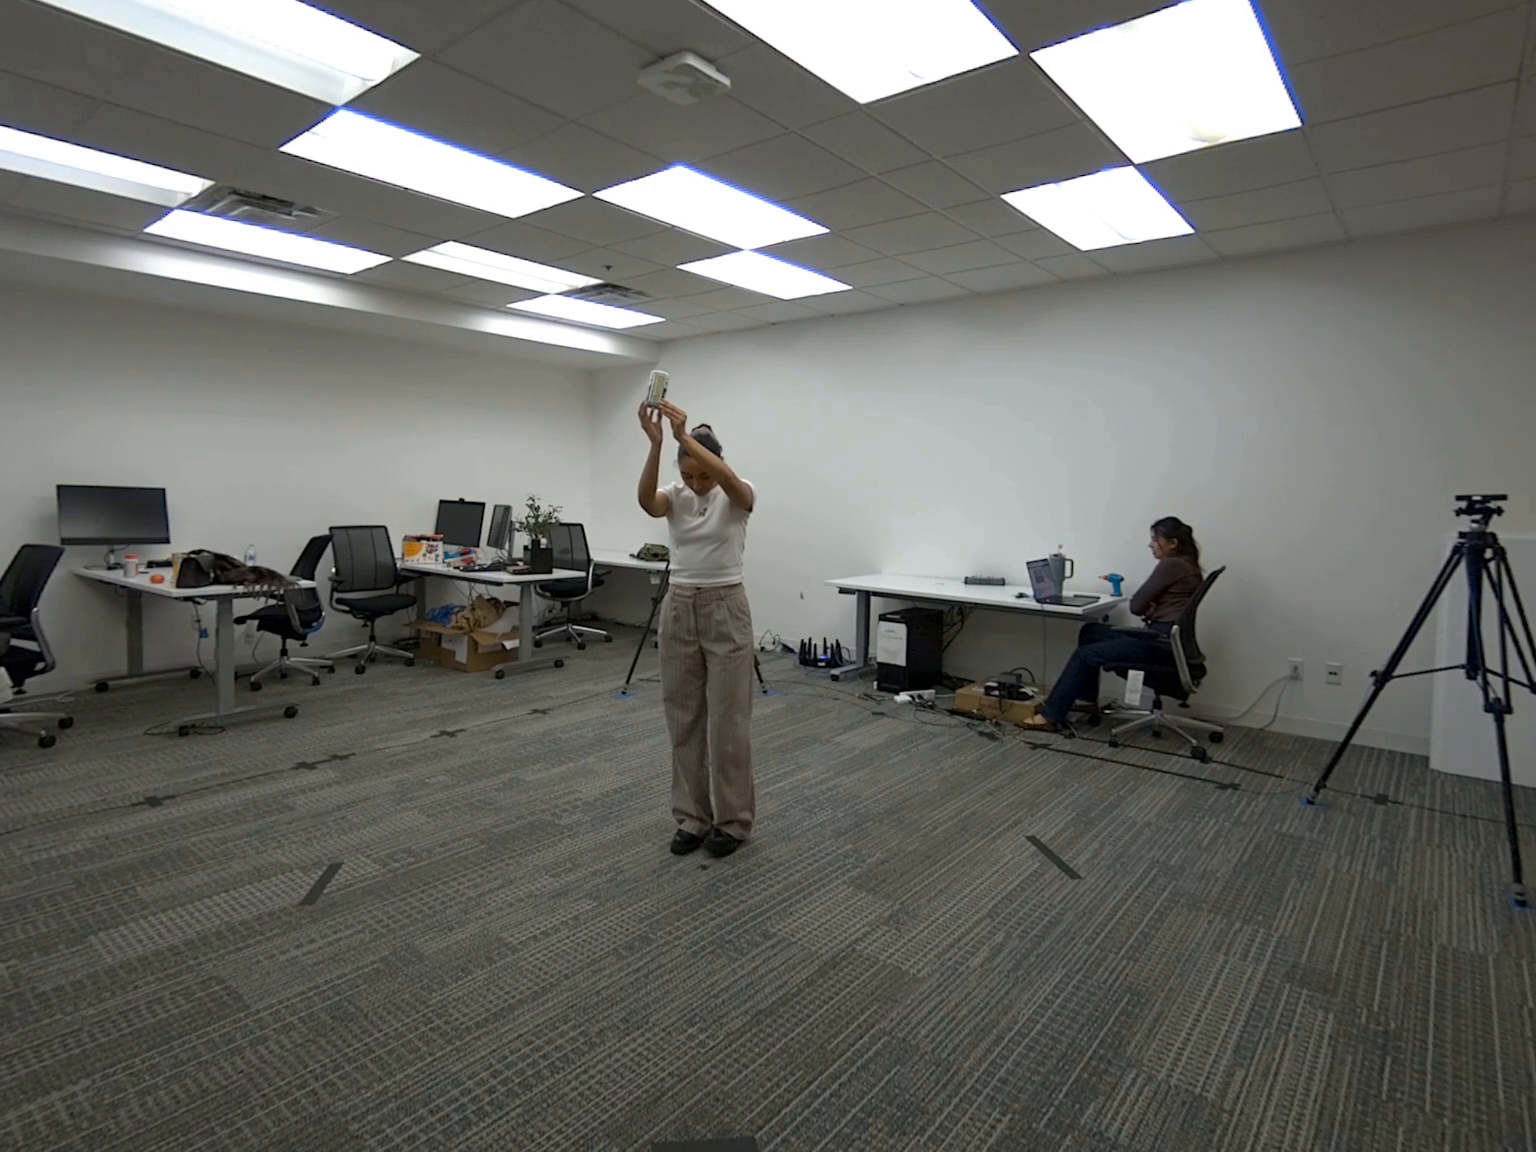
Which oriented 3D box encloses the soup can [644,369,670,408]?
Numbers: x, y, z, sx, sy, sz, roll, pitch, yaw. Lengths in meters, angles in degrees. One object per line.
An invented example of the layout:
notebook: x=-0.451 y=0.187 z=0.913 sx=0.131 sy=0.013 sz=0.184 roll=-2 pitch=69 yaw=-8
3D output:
soup can: x=-0.385 y=-0.642 z=2.907 sx=0.067 sy=0.122 sz=0.067 roll=10 pitch=-2 yaw=-2
